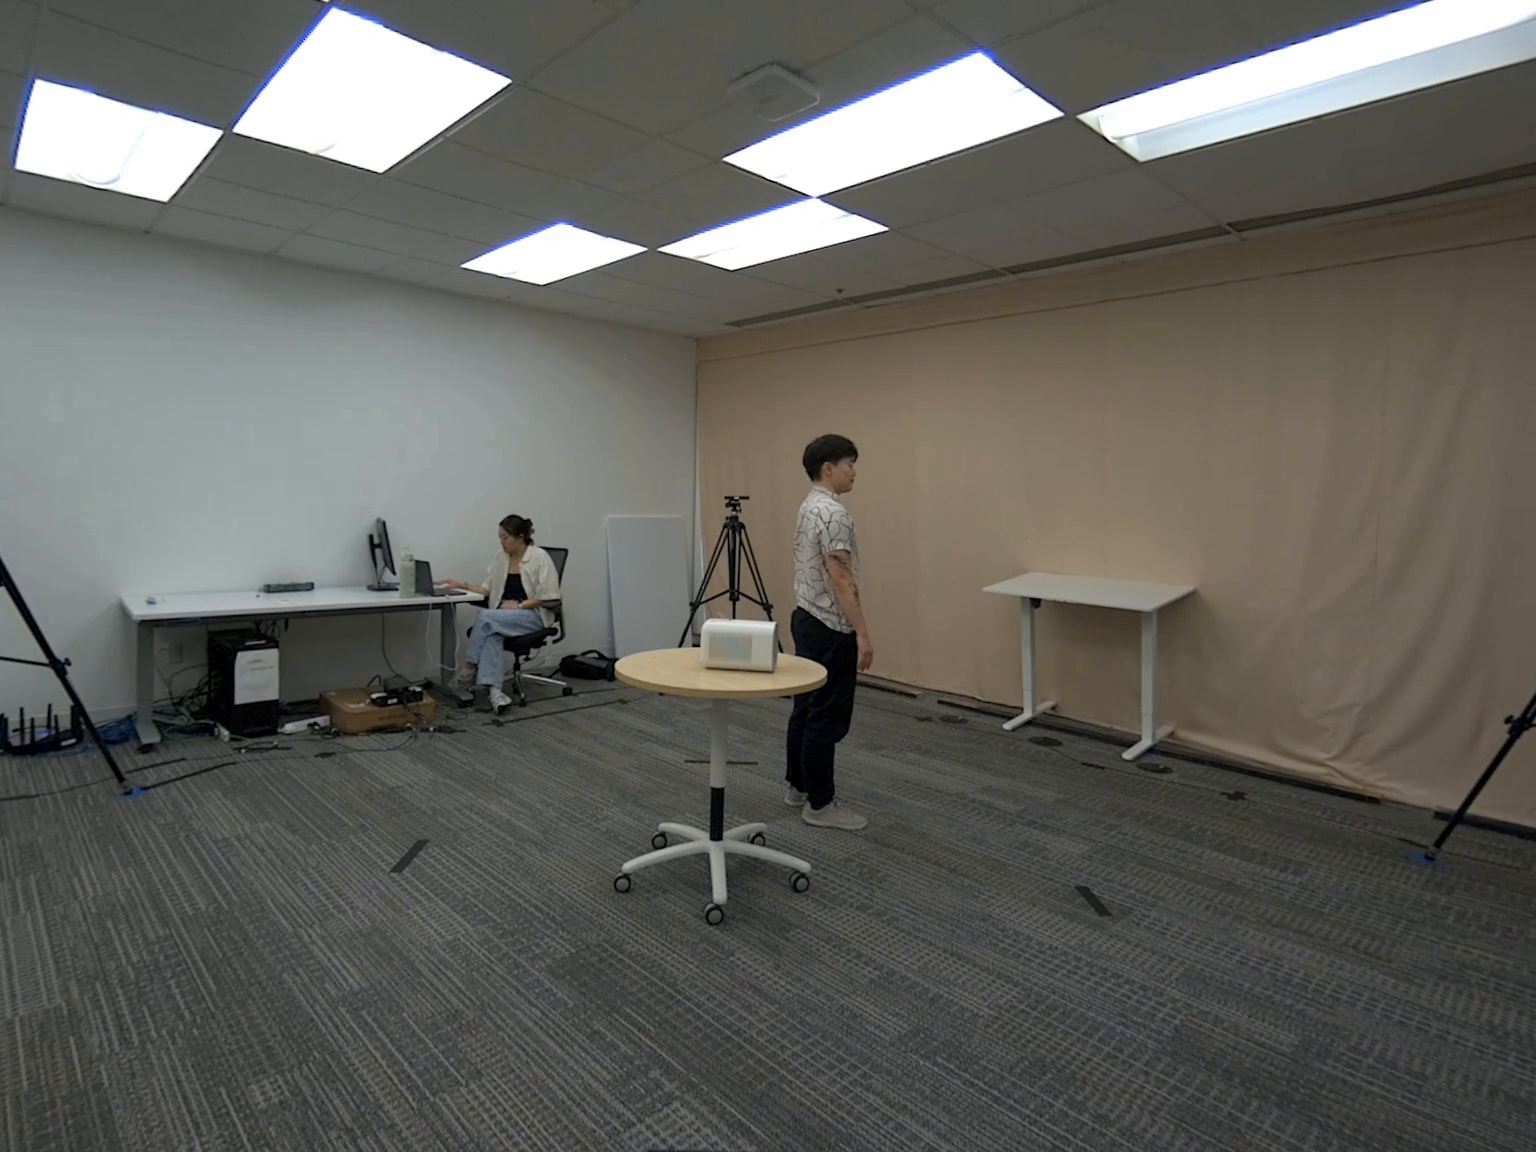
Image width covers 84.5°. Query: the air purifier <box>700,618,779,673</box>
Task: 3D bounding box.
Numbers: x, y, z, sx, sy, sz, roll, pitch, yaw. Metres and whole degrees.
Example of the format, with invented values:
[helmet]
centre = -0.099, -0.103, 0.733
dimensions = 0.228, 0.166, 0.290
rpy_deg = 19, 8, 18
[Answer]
[air purifier]
centre = -0.110, 0.245, 3.028
dimensions = 0.267, 0.171, 0.170
rpy_deg = 2, 4, 6
